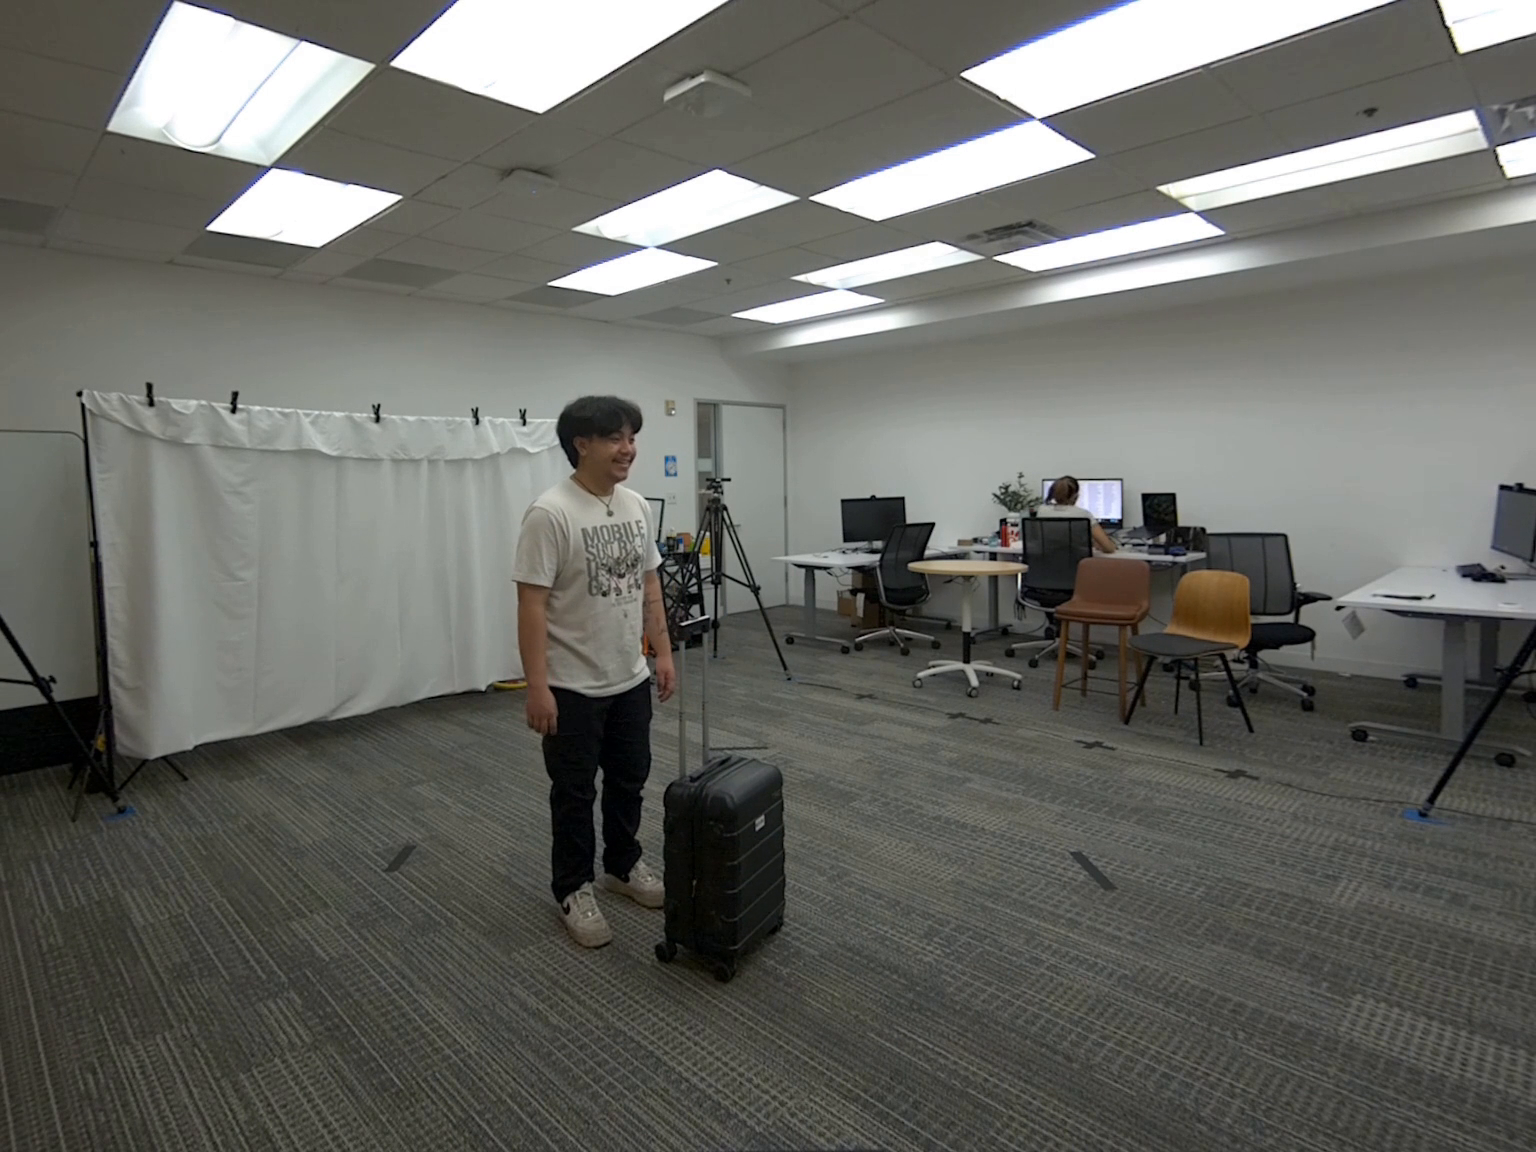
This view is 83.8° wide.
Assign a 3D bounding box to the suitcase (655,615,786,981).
[{"bbox_3d":[-0.113,0.639,2.513,0.264,0.973,0.376,6,7,28],"label":"suitcase"}]
